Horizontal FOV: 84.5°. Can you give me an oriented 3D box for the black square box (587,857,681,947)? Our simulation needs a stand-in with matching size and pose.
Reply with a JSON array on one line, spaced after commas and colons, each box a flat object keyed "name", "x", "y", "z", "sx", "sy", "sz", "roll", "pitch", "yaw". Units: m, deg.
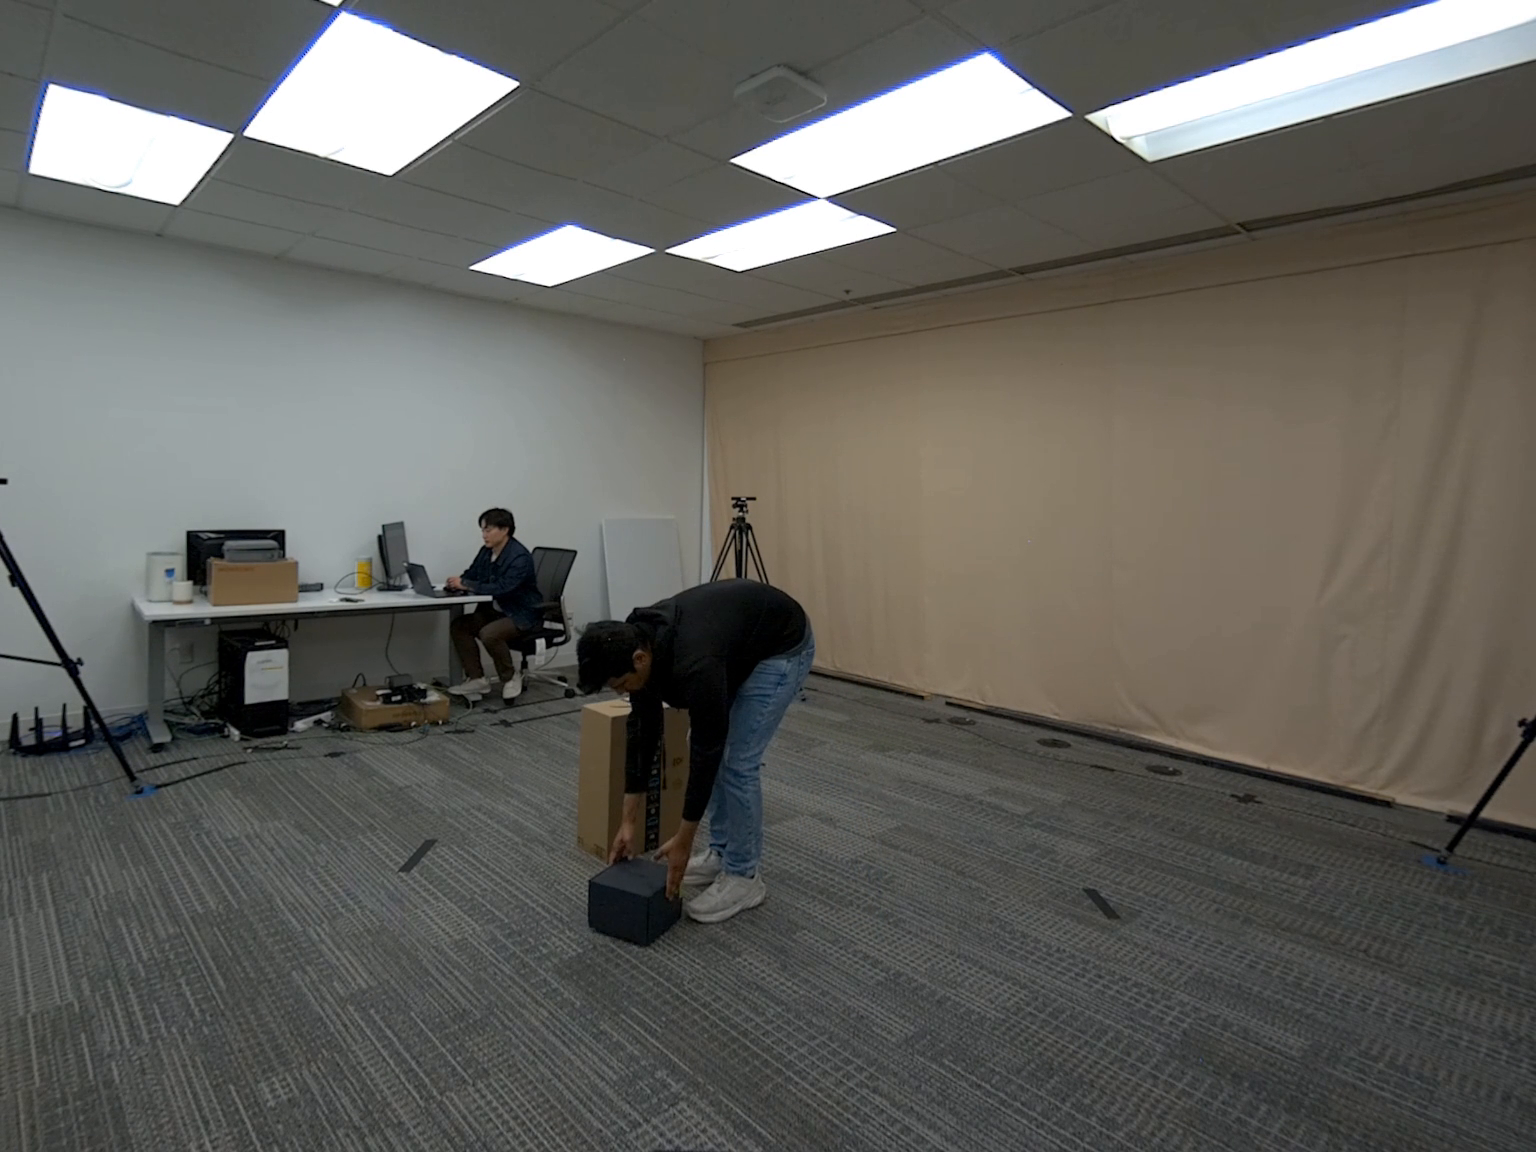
[{"name": "black square box", "x": -0.434, "y": 1.025, "z": 2.715, "sx": 0.232, "sy": 0.155, "sz": 0.213, "roll": 4, "pitch": 6, "yaw": 25}]
